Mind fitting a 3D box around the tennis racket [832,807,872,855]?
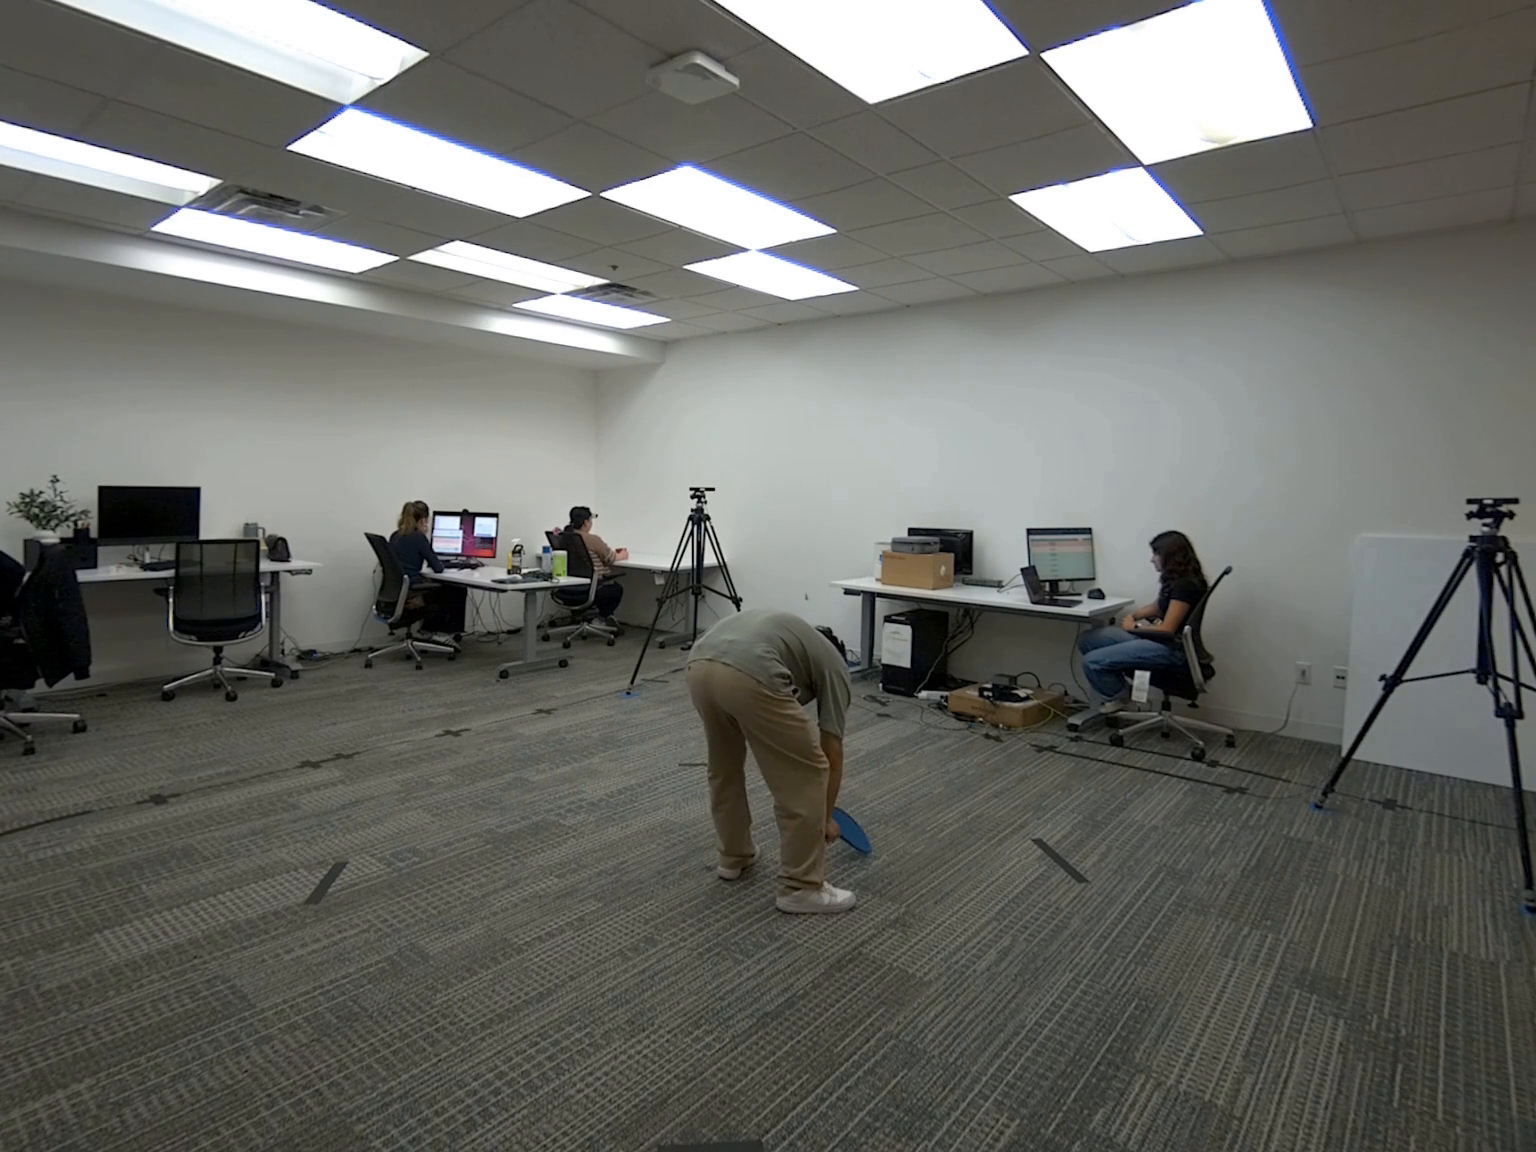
[{"bbox_3d":[0.287,0.972,3.224,0.219,0.032,0.422,43,6,17],"label":"tennis racket"}]
